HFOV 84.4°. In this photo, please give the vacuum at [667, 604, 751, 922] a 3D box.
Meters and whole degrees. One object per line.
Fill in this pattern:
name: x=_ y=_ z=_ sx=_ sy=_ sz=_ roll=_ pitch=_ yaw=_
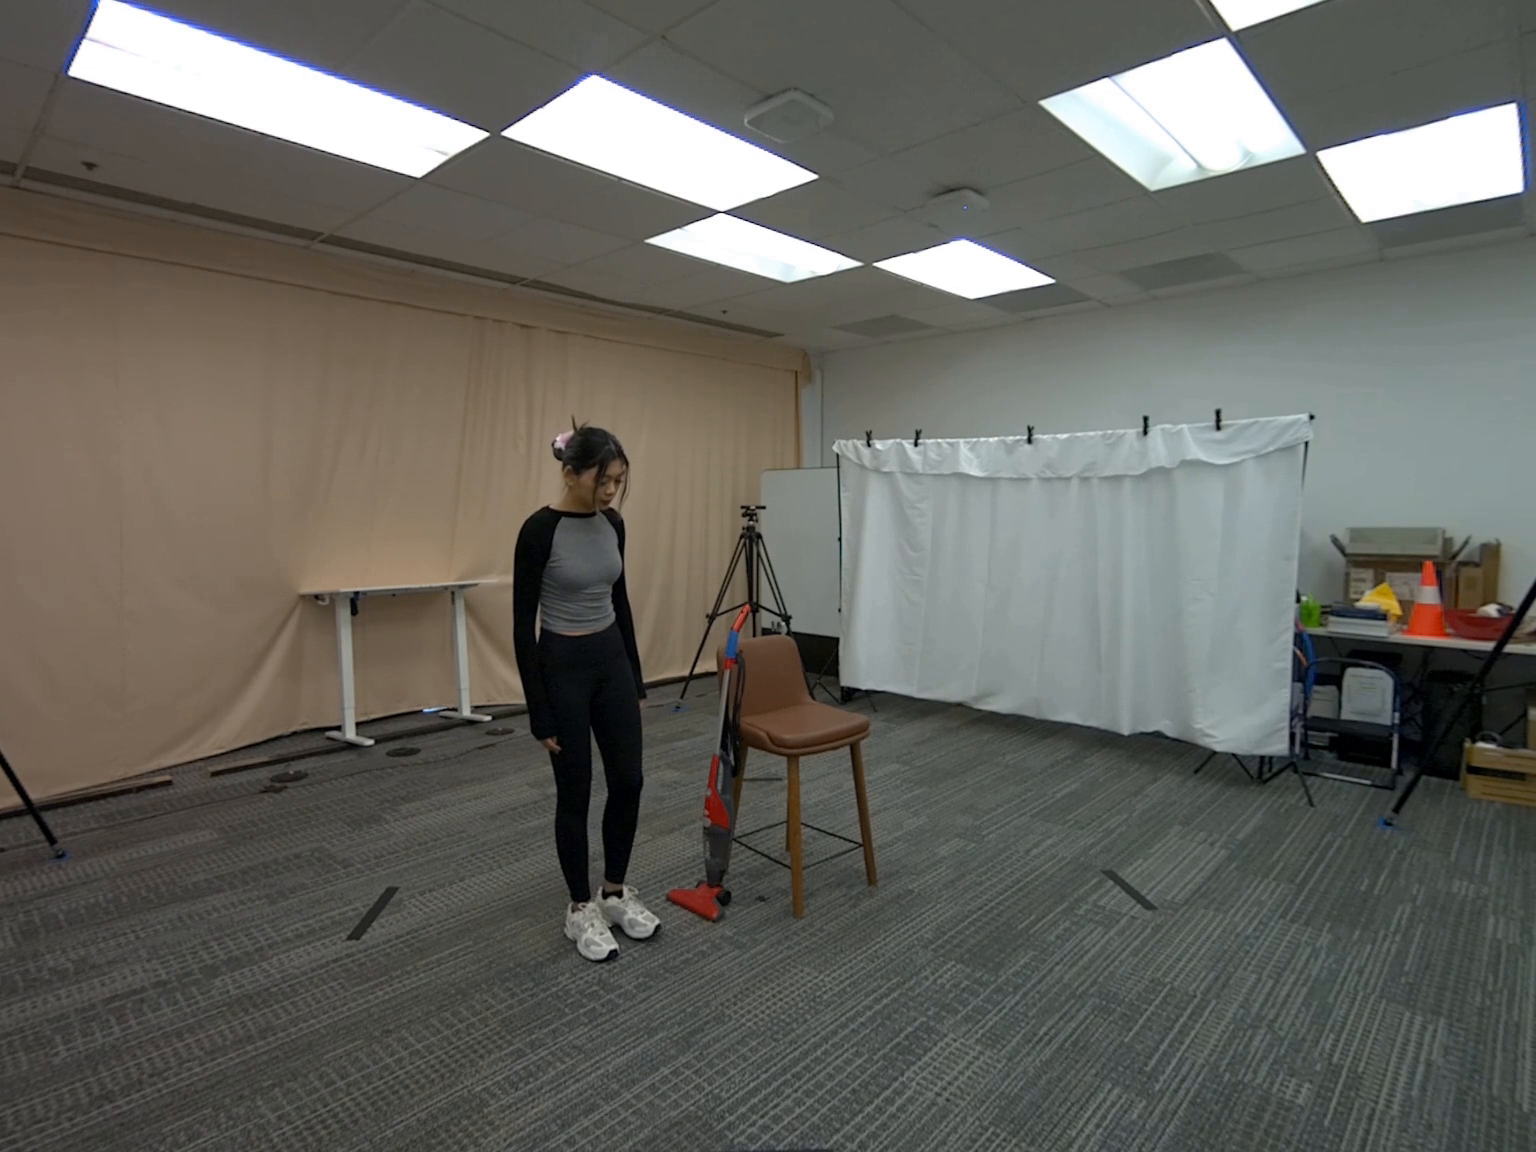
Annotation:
vacuum: x=-0.147 y=0.629 z=3.014 sx=0.139 sy=1.052 sz=0.260 roll=14 pitch=-8 yaw=-37
